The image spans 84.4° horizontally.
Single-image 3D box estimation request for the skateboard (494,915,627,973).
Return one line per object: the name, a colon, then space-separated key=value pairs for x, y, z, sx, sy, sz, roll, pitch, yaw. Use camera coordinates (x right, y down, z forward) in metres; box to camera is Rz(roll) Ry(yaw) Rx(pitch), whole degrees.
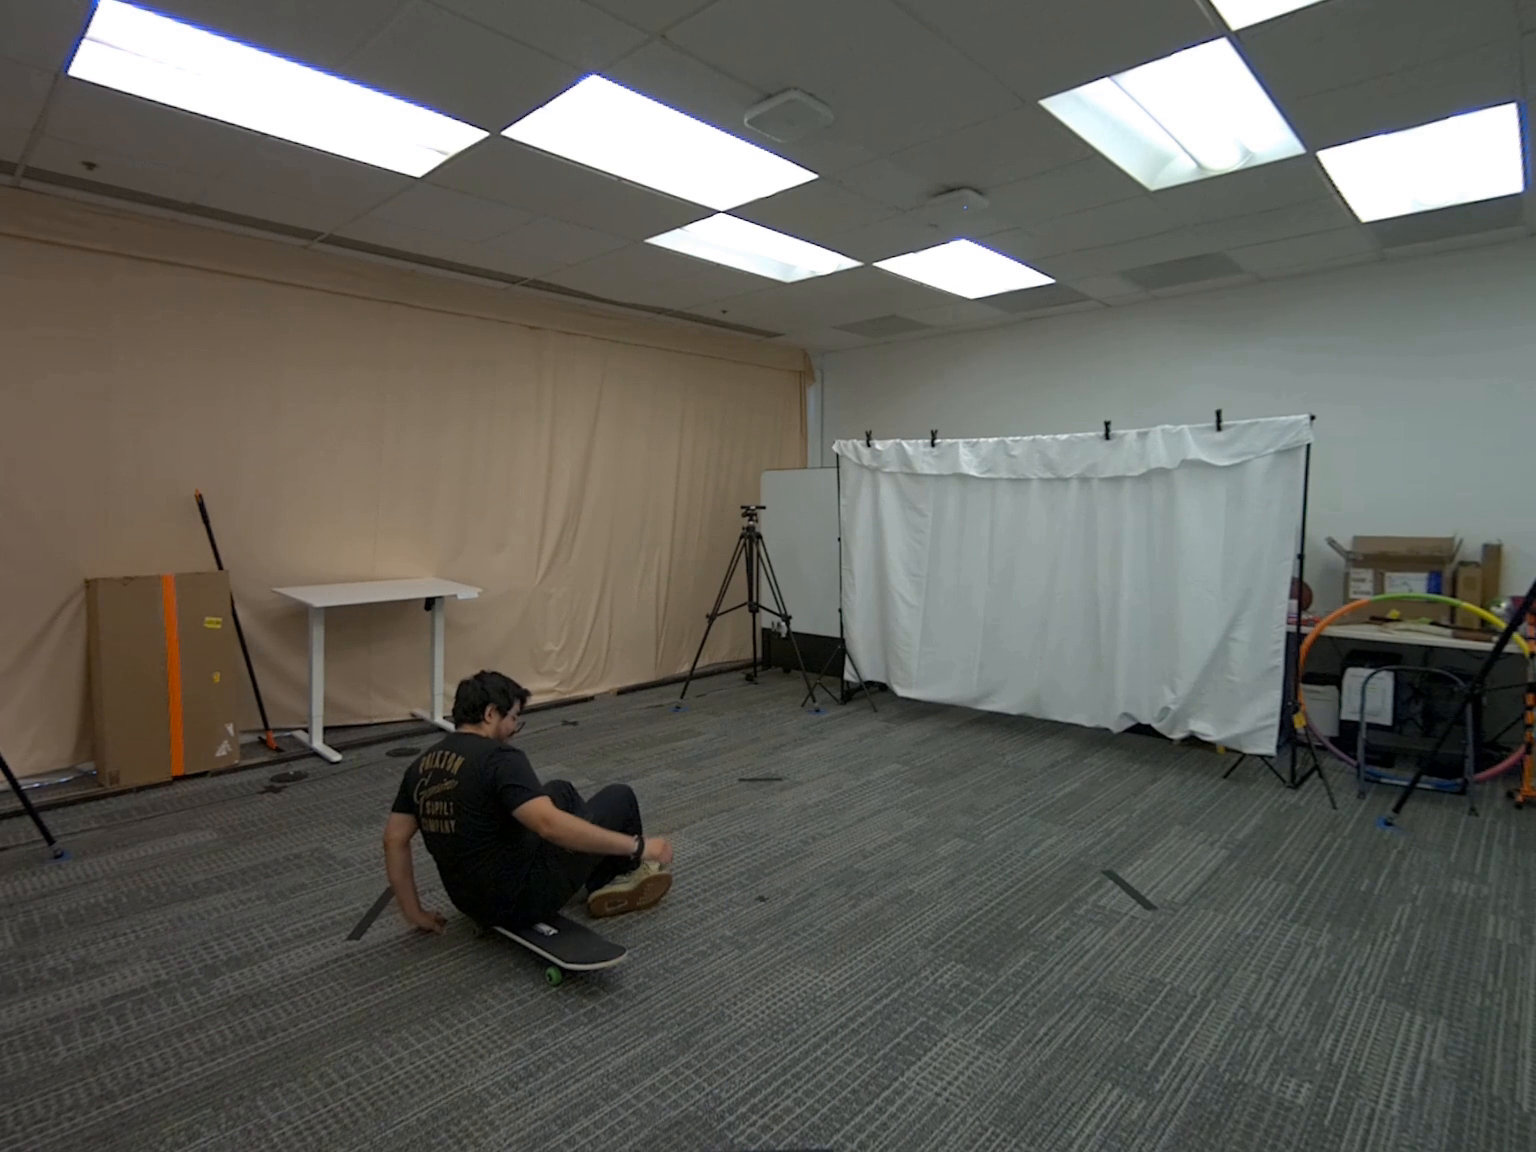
skateboard: x=-0.727 y=1.117 z=2.651 sx=0.811 sy=0.110 sz=0.187 roll=3 pitch=3 yaw=44
